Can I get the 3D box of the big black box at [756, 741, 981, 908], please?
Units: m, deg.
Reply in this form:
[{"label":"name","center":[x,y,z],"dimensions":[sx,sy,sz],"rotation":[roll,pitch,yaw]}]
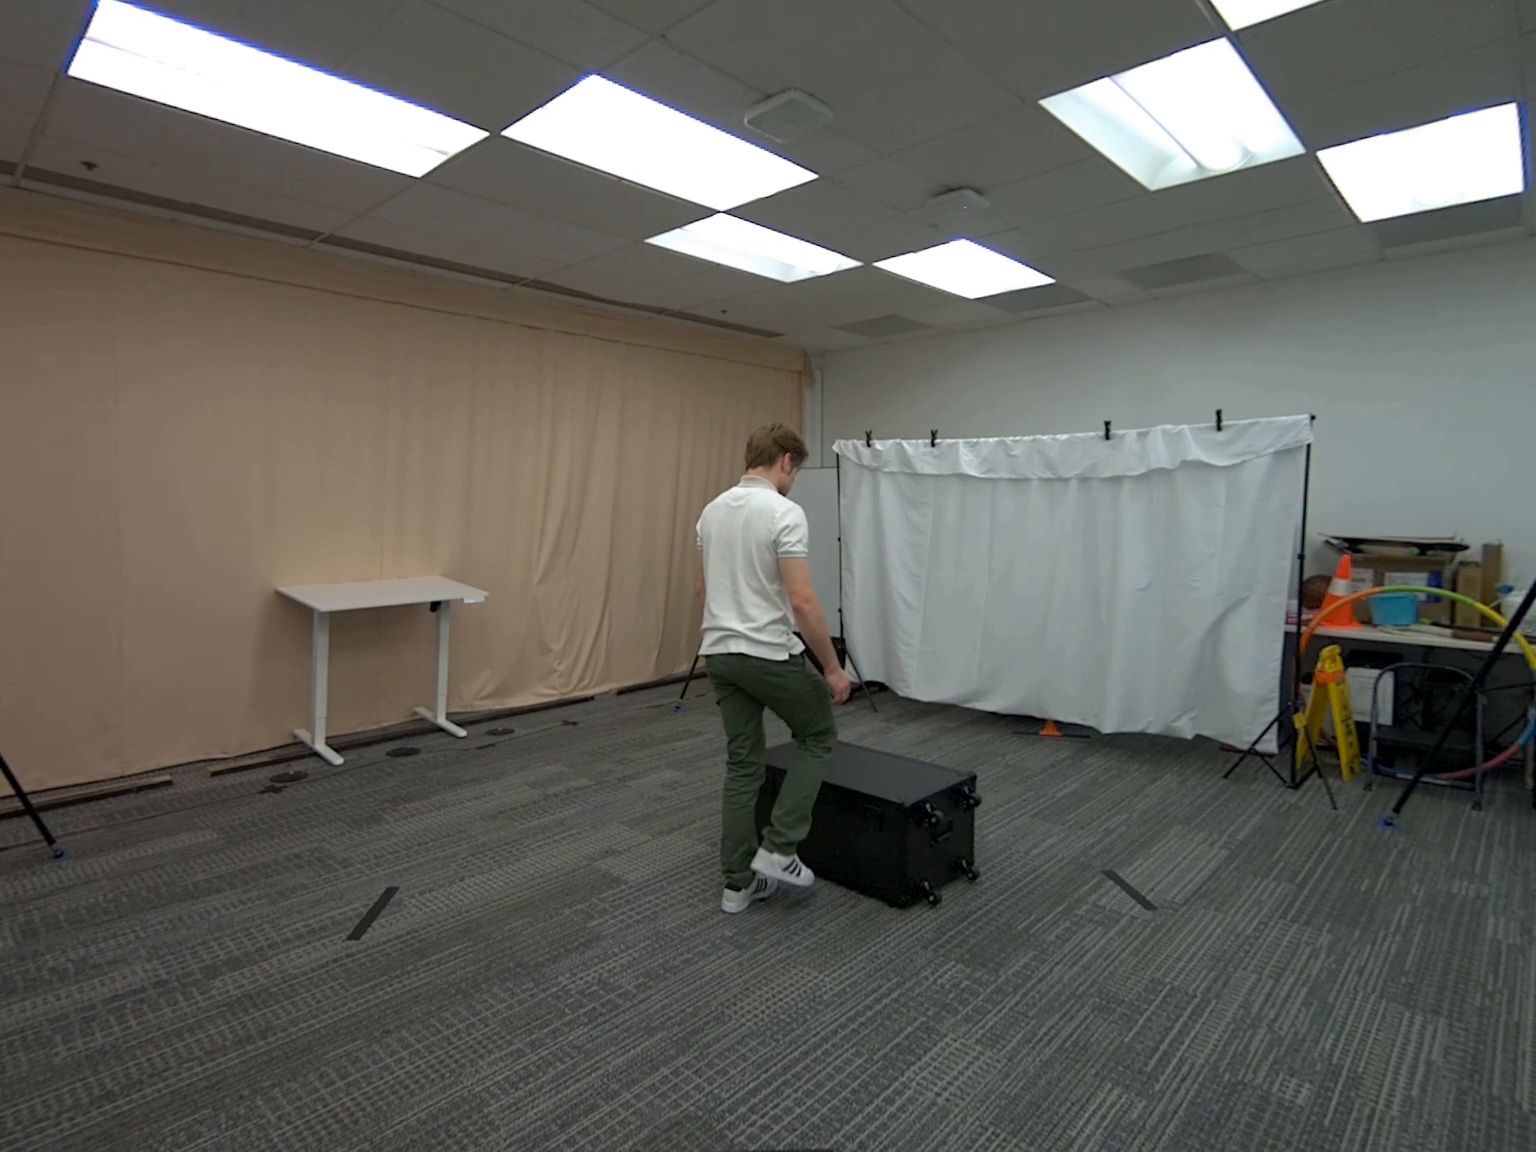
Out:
[{"label":"big black box","center":[0.363,0.923,3.275],"dimensions":[0.898,0.384,0.507],"rotation":[5,5,43]}]
